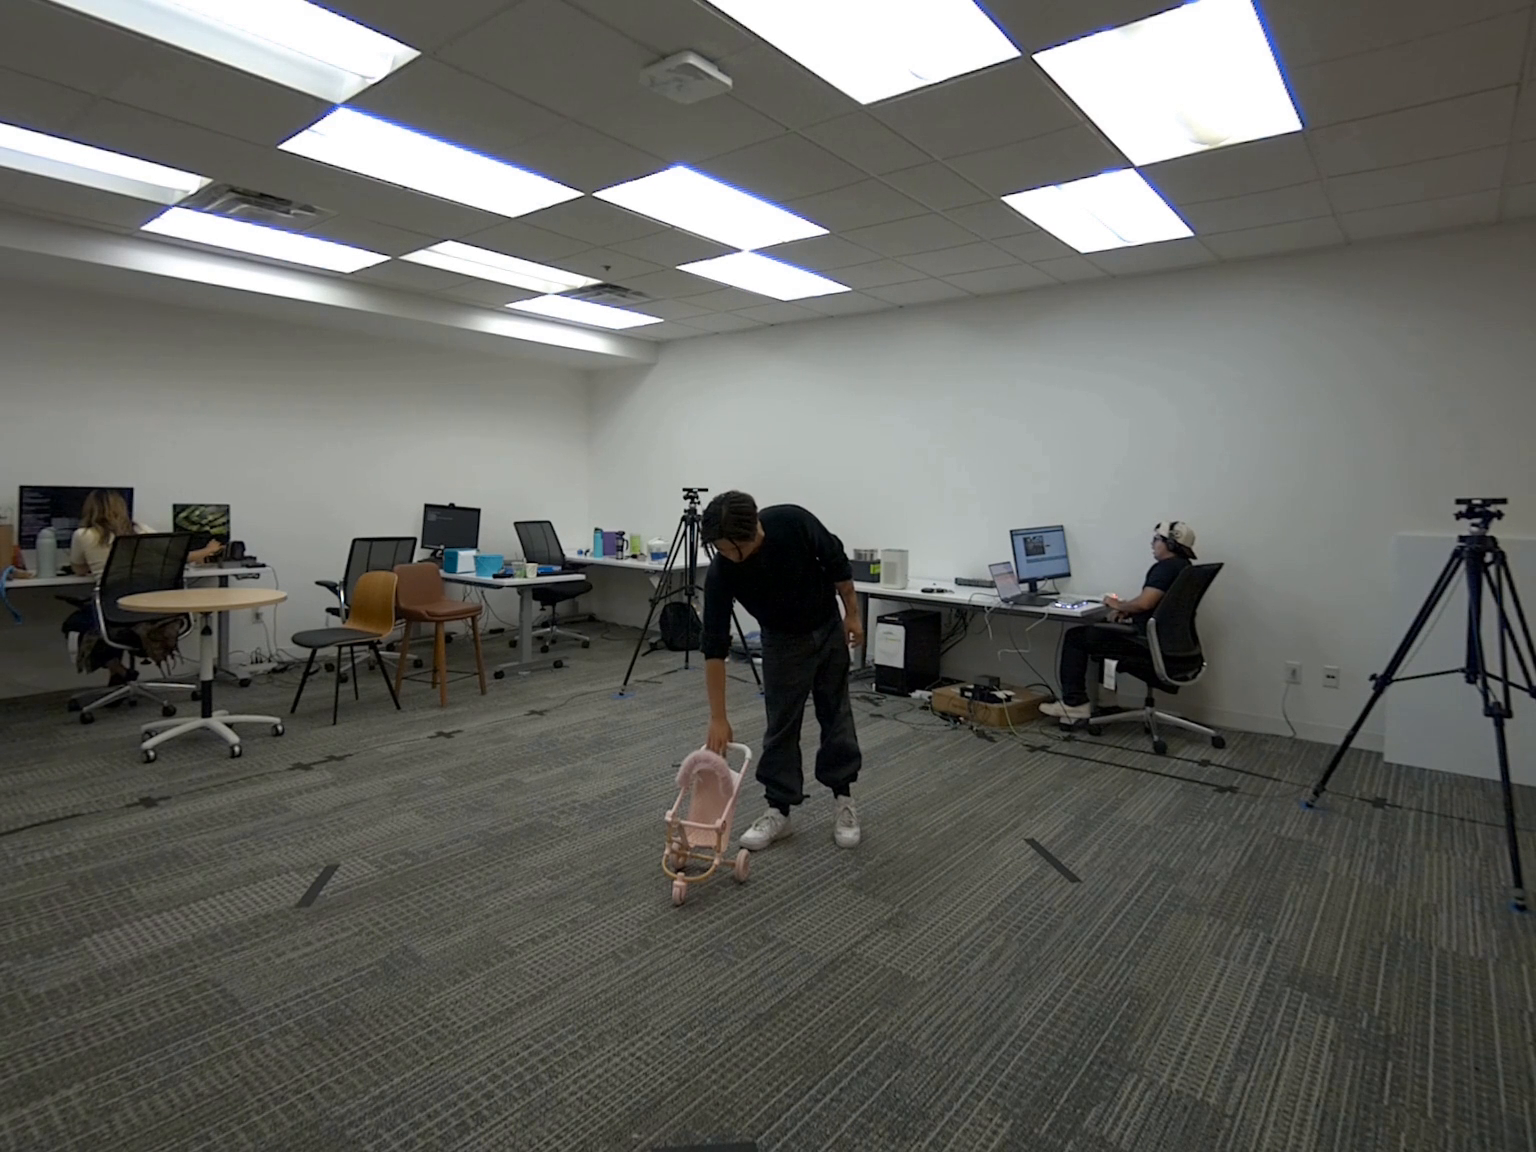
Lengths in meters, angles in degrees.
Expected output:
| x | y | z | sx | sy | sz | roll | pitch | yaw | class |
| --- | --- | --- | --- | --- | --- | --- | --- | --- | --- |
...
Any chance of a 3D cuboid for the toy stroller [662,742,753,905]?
| x | y | z | sx | sy | sz | roll | pitch | yaw | class |
| --- | --- | --- | --- | --- | --- | --- | --- | --- | --- |
| -0.239 | 0.853 | 3.001 | 0.289 | 0.540 | 0.329 | 2 | -12 | 26 | toy stroller |
